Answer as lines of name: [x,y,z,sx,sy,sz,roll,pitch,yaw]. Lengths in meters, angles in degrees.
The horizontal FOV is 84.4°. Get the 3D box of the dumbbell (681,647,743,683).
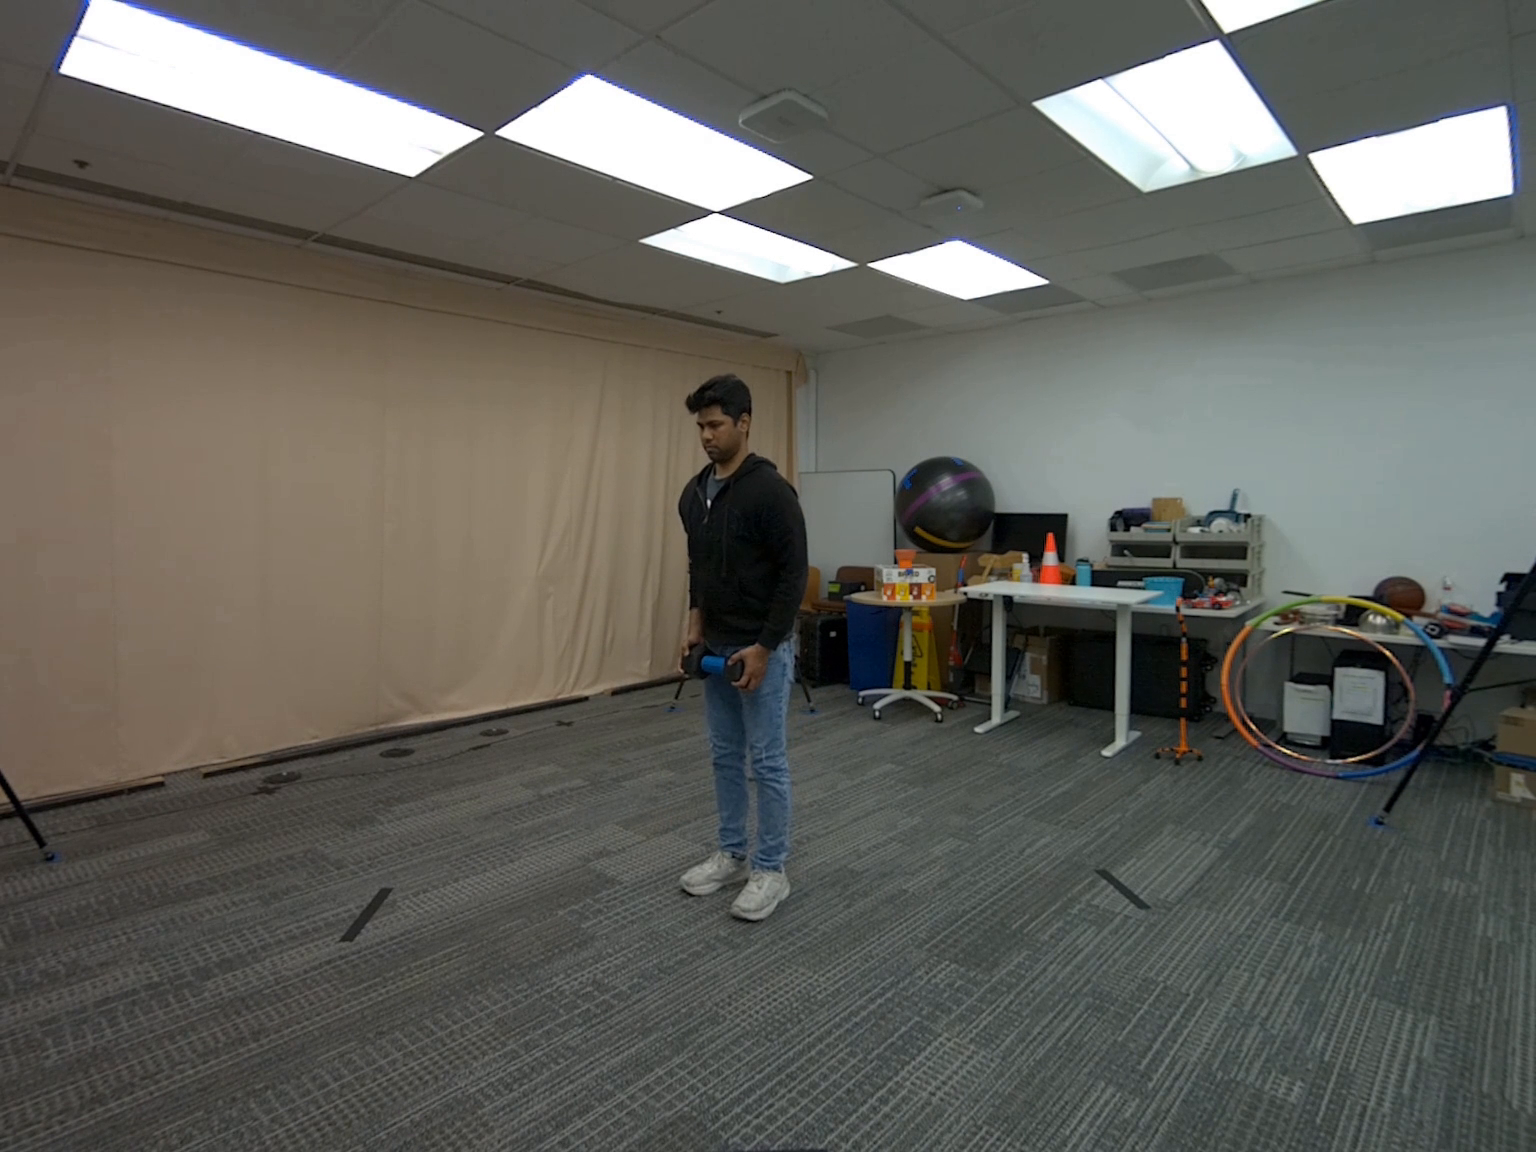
dumbbell: [-0.163,0.318,2.918,0.303,0.109,0.119,2,-32,44]
